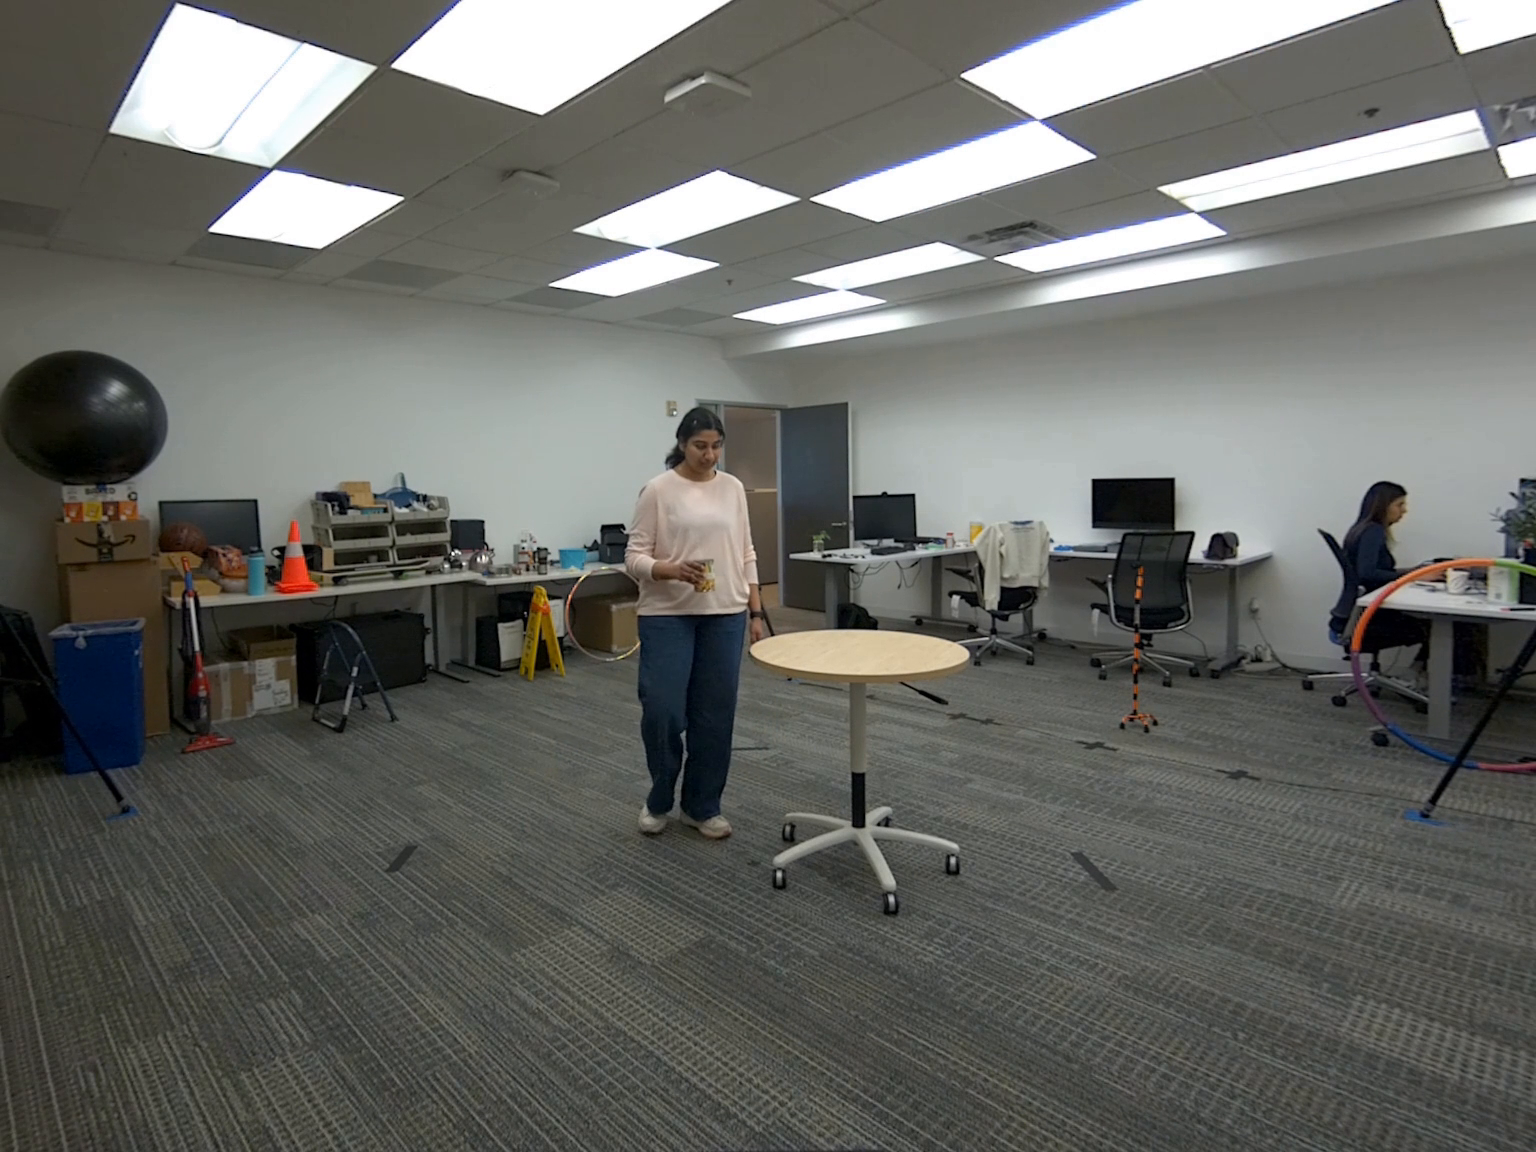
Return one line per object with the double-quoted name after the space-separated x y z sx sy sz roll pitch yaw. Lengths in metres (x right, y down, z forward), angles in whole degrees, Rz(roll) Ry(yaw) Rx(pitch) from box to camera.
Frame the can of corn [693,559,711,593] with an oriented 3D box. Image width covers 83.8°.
-0.281 0.011 3.069 0.074 0.110 0.074 -8 5 -1 "can of corn"
